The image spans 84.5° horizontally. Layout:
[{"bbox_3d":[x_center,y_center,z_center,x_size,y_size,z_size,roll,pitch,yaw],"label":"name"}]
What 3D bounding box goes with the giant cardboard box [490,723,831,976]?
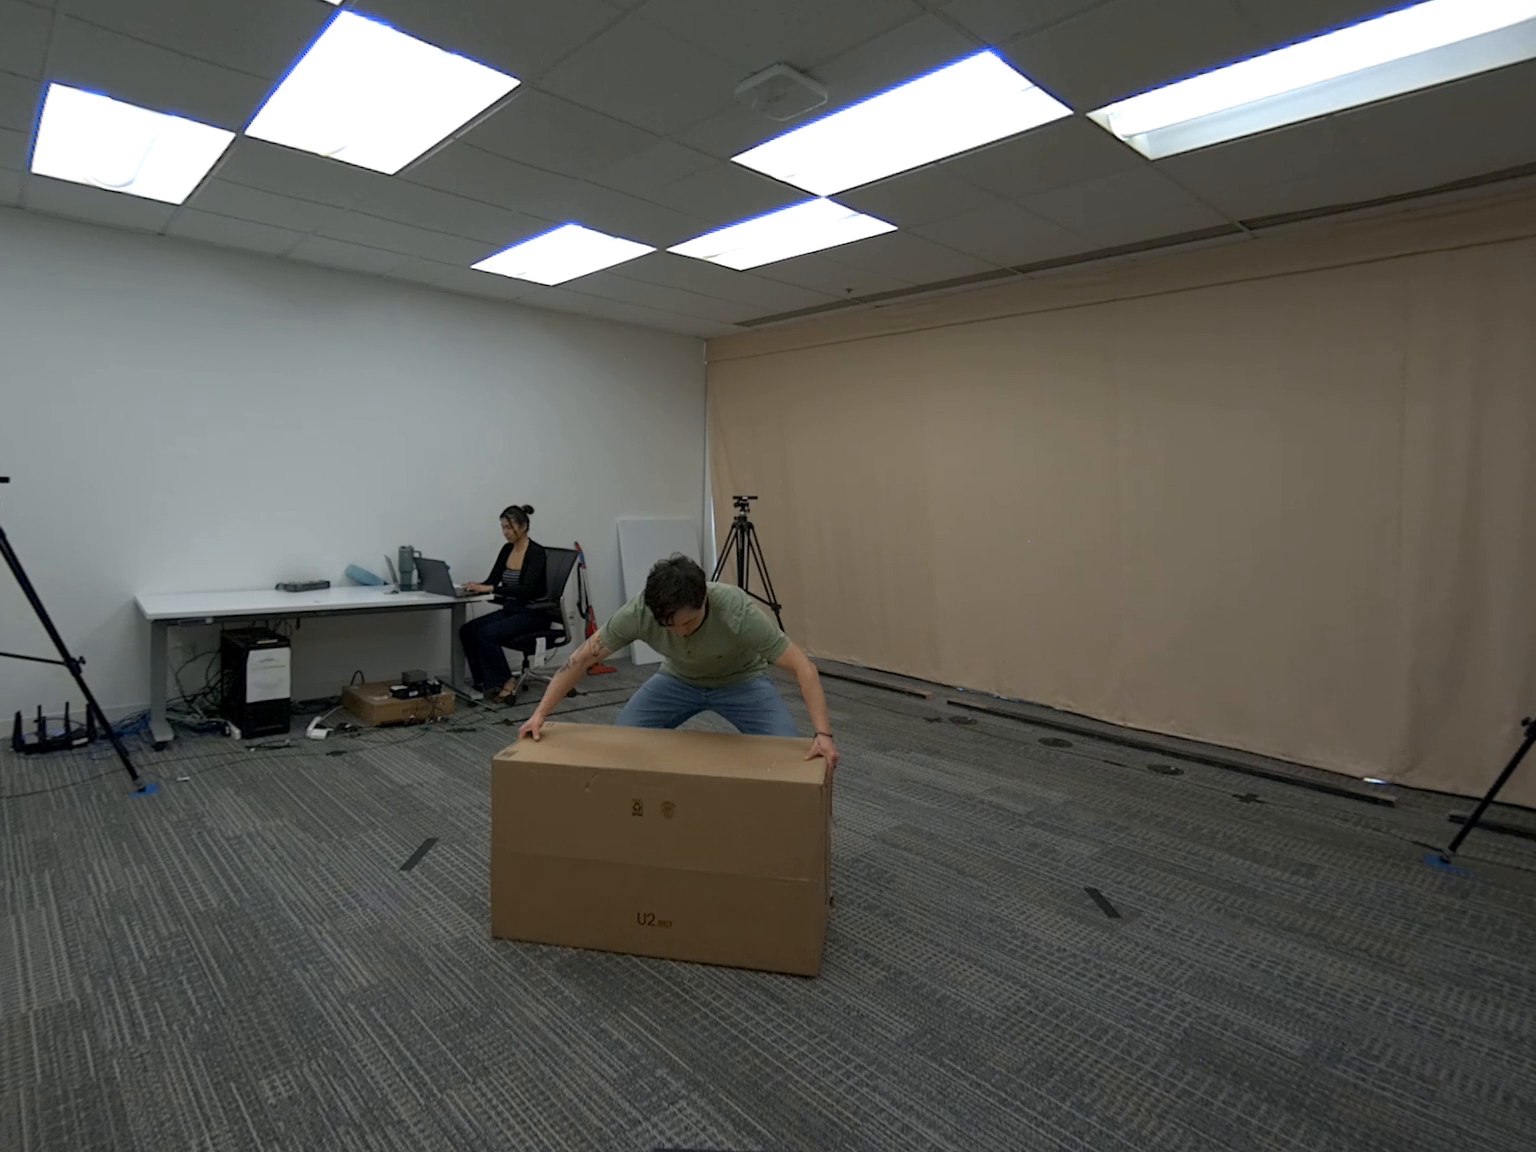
[{"bbox_3d":[-0.328,0.830,2.703,1.035,0.576,0.424,2,5,11],"label":"giant cardboard box"}]
